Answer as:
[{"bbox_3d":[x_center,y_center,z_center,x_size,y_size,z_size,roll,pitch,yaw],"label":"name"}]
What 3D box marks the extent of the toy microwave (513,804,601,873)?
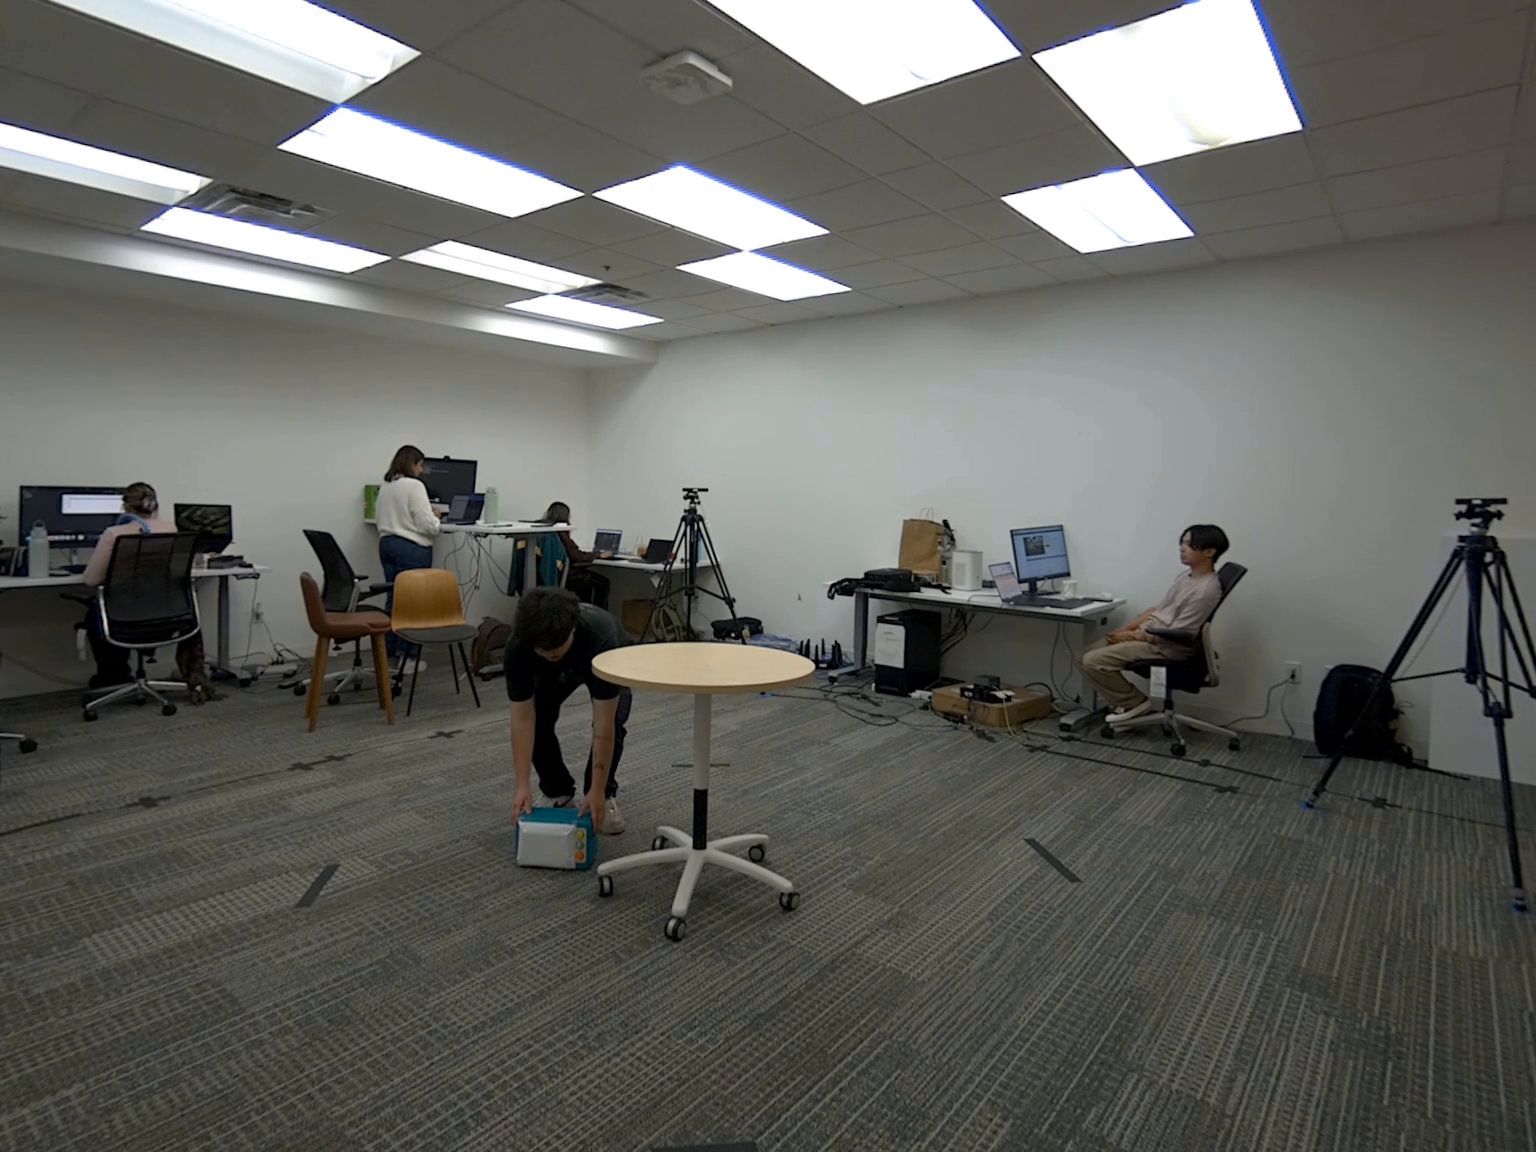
[{"bbox_3d":[-0.781,0.965,3.125,0.288,0.183,0.152,2,4,5],"label":"toy microwave"}]
